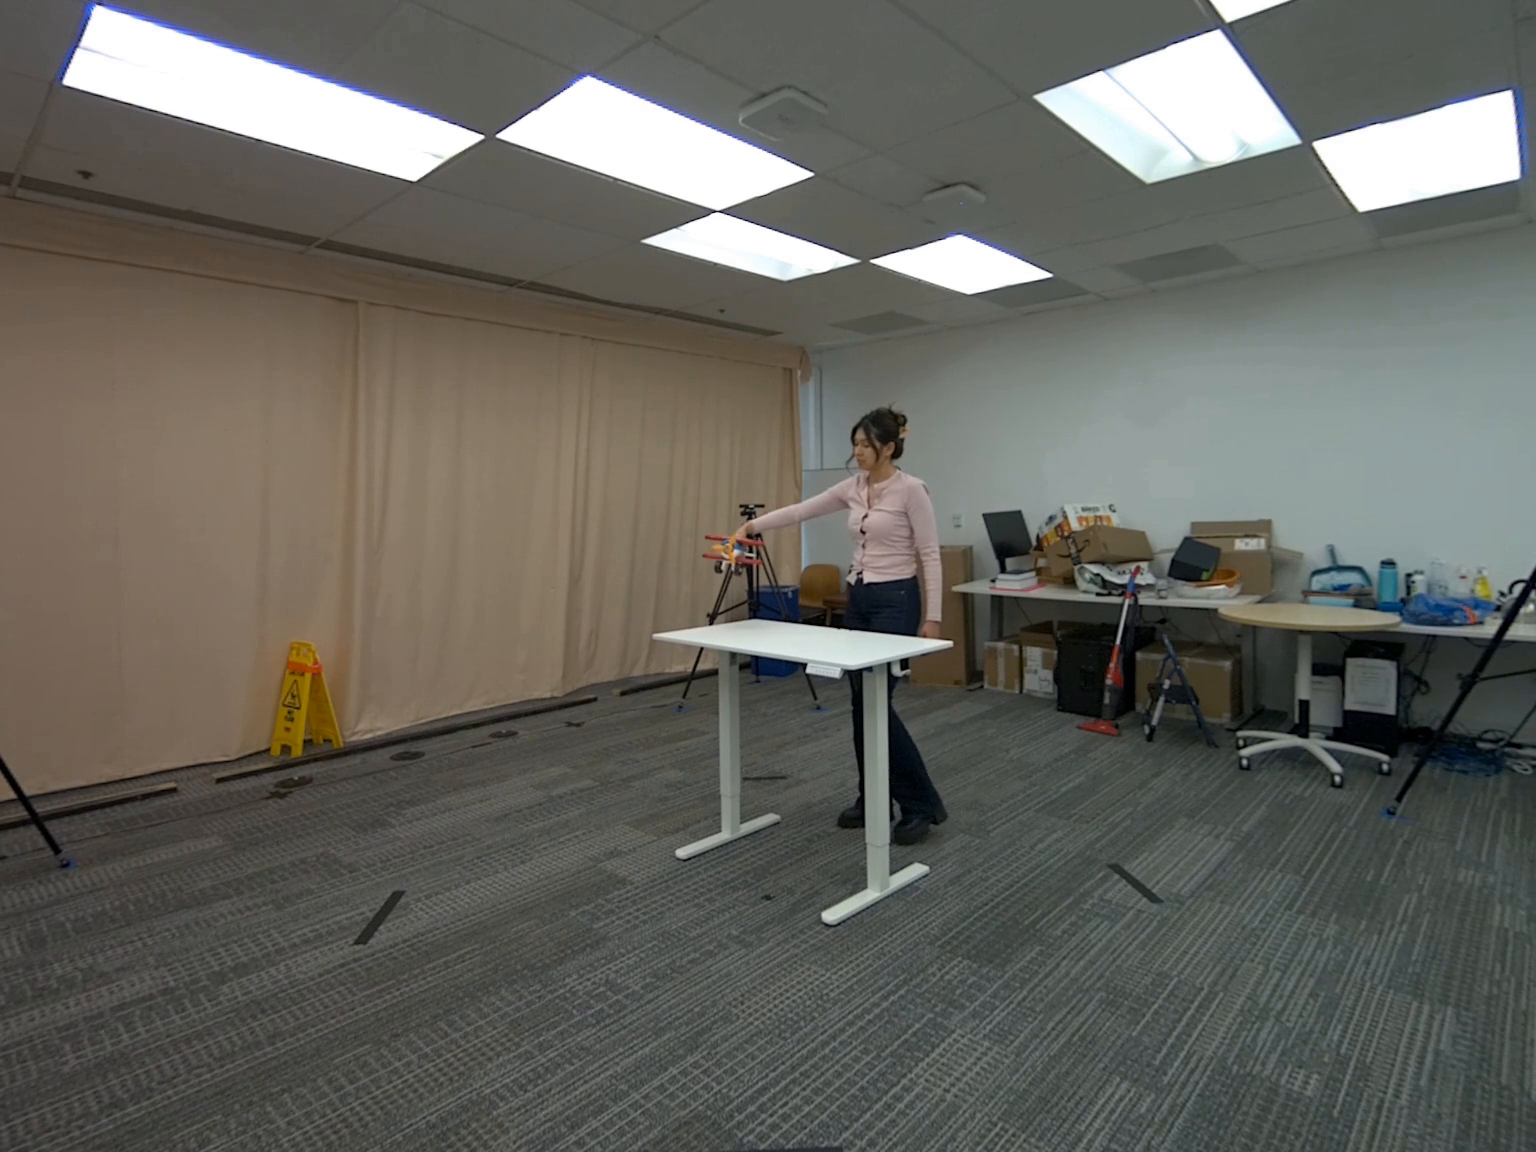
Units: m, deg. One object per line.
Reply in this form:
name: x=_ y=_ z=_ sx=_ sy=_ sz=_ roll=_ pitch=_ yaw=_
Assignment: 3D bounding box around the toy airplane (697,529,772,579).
toy airplane: x=-0.147 y=-0.098 z=3.558 sx=0.247 sy=0.155 sz=0.265 roll=1 pitch=12 yaw=-14
